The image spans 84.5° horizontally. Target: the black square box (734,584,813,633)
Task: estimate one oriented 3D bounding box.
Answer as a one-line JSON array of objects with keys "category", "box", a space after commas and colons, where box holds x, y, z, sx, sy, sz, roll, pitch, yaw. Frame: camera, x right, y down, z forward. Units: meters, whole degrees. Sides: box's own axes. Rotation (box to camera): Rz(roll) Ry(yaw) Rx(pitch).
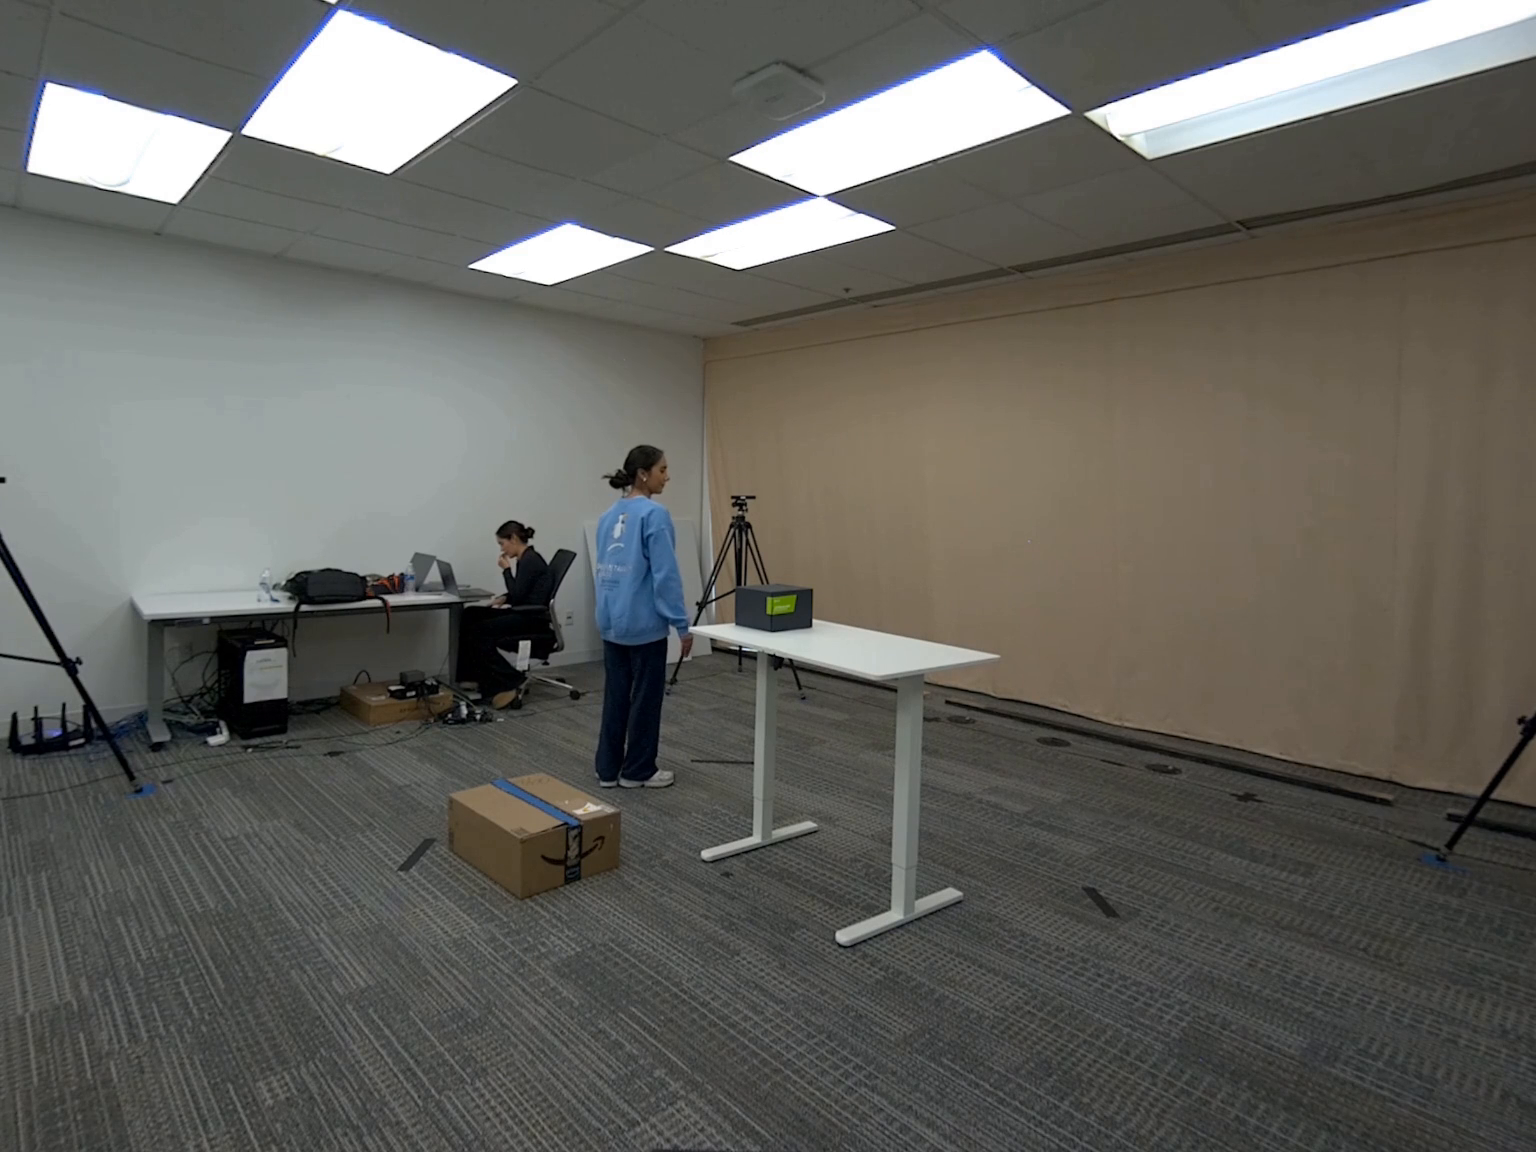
[{"category": "black square box", "box": [0.016, 0.123, 3.340, 0.223, 0.155, 0.222, -3, 7, -42]}]
